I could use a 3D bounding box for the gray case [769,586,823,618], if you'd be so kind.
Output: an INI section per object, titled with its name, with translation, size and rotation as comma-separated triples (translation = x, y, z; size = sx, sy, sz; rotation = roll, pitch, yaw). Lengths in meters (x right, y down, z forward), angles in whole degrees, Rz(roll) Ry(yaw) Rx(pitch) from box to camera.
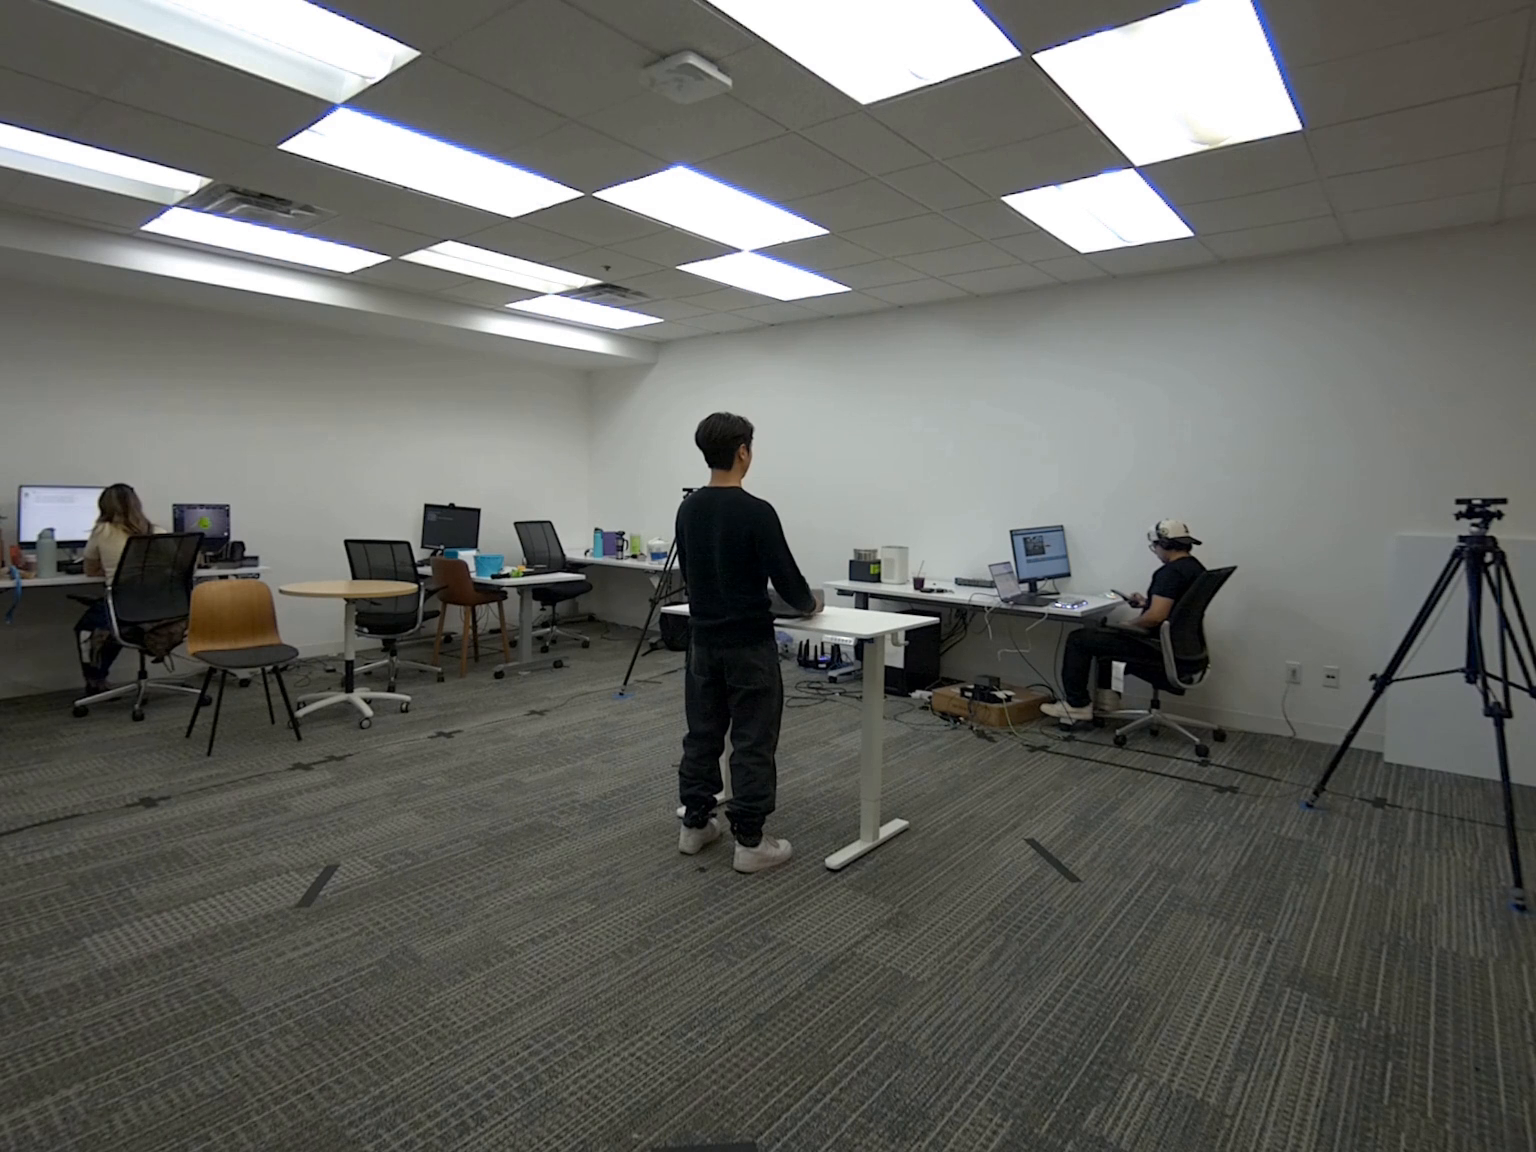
[gray case]
translation = 0.060, 0.094, 3.491
size = 0.265, 0.104, 0.252
rotation = 5, 4, 39
